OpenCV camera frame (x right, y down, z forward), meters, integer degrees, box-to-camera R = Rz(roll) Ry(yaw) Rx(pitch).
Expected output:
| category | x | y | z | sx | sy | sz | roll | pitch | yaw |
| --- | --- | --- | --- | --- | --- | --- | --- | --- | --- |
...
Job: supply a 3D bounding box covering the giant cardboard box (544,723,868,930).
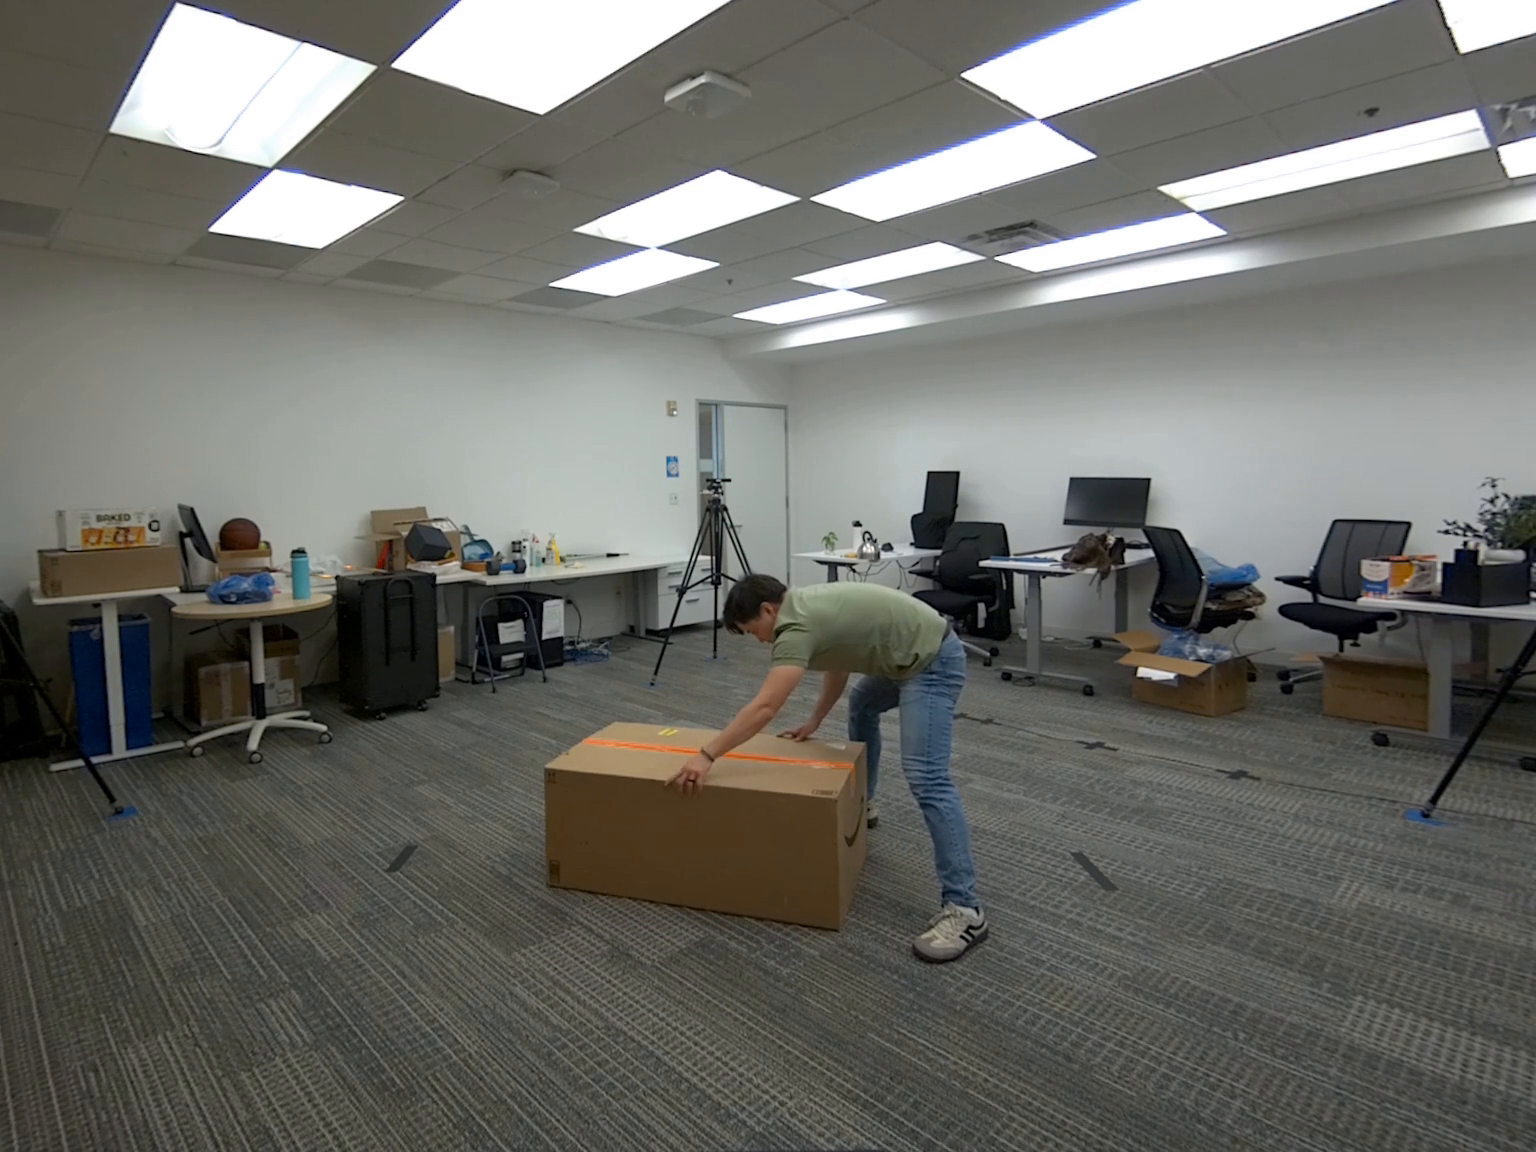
| category | x | y | z | sx | sy | sz | roll | pitch | yaw |
| --- | --- | --- | --- | --- | --- | --- | --- | --- | --- |
| giant cardboard box | -0.203 | 0.839 | 3.035 | 1.043 | 0.425 | 0.570 | 1 | 5 | 17 |
